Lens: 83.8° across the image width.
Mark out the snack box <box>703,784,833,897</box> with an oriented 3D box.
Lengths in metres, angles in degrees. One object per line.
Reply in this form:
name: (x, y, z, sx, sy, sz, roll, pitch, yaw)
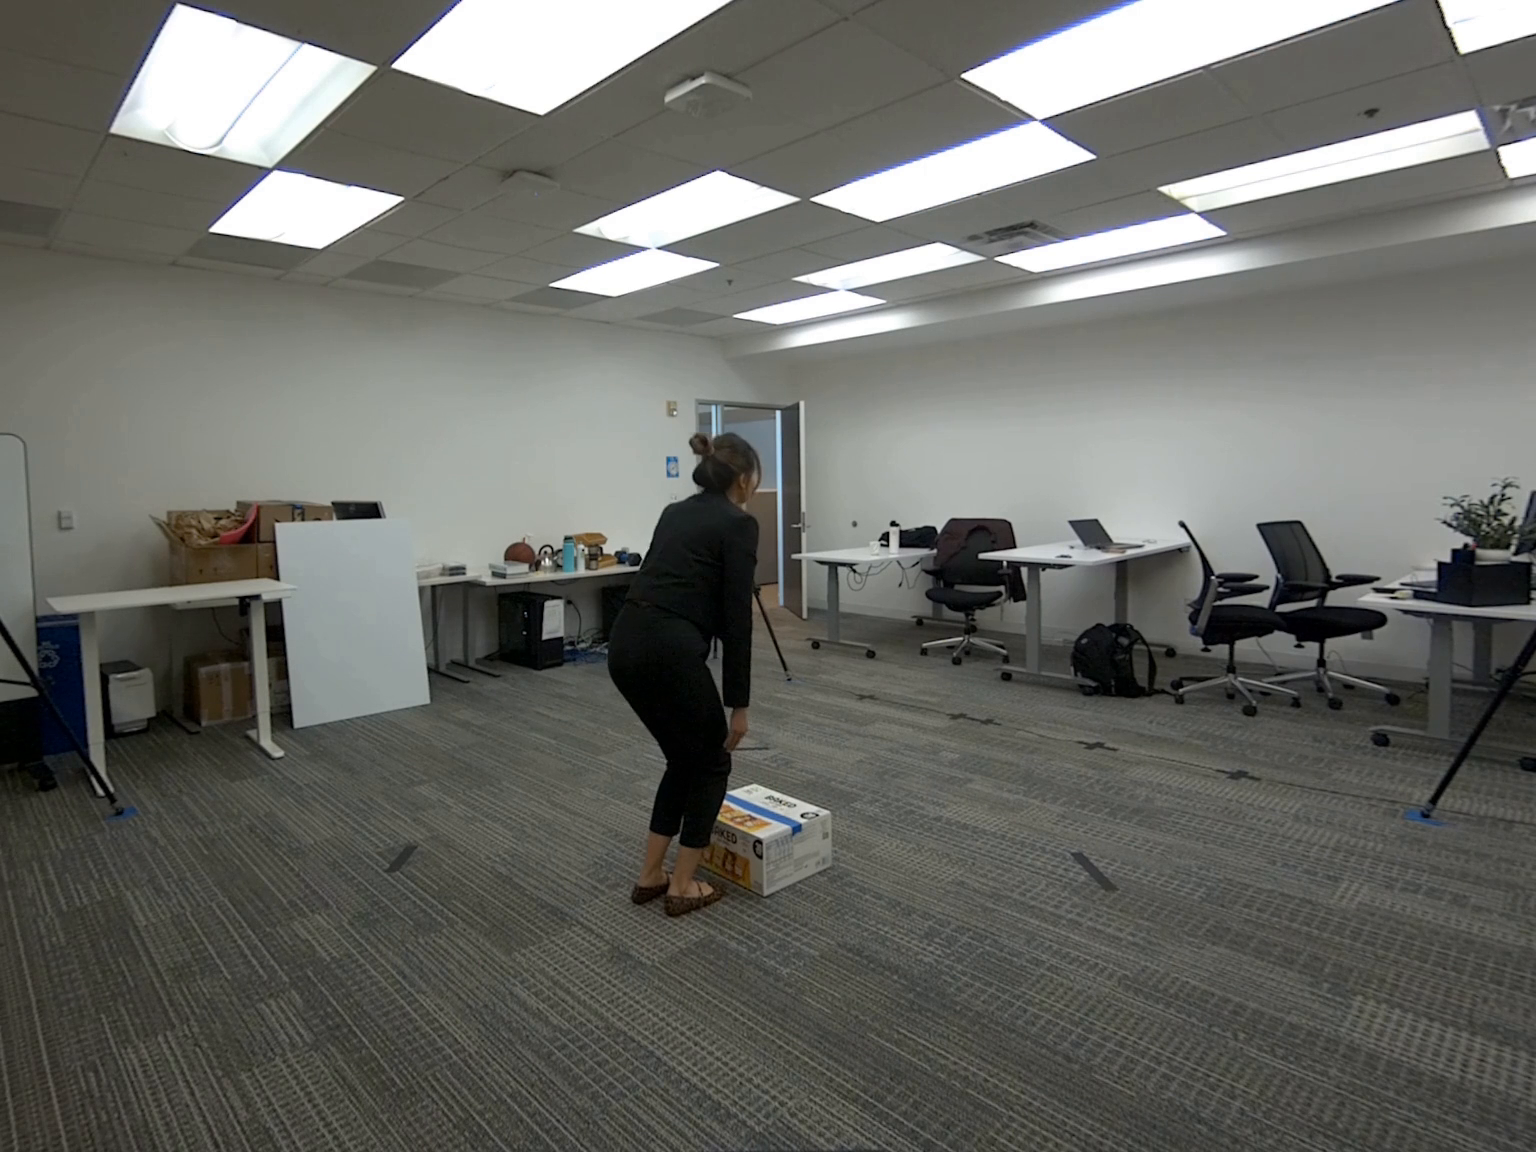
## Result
snack box: (-0.030, 0.943, 3.100, 0.331, 0.205, 0.418, -6, 8, -43)
